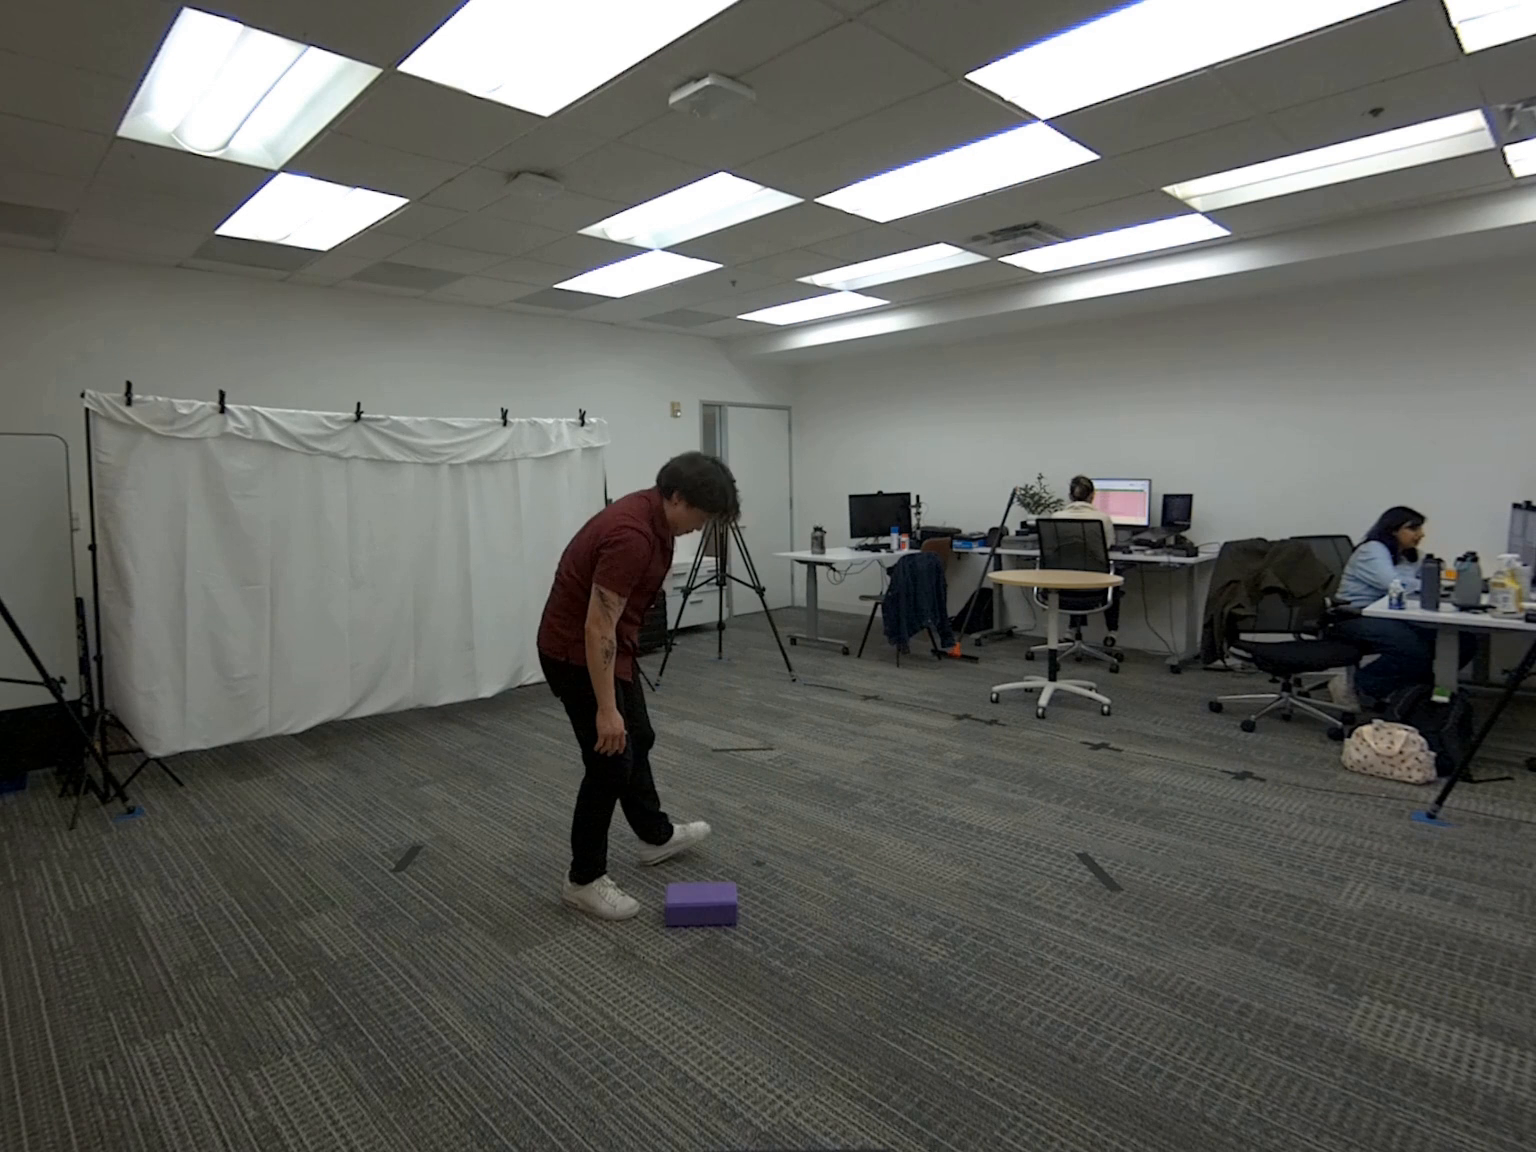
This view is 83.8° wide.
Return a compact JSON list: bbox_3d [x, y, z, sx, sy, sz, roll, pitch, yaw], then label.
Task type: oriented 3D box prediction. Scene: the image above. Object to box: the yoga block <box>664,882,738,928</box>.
[{"bbox_3d":[-0.215,1.051,2.742,0.229,0.076,0.149,0,5,-1],"label":"yoga block"}]
